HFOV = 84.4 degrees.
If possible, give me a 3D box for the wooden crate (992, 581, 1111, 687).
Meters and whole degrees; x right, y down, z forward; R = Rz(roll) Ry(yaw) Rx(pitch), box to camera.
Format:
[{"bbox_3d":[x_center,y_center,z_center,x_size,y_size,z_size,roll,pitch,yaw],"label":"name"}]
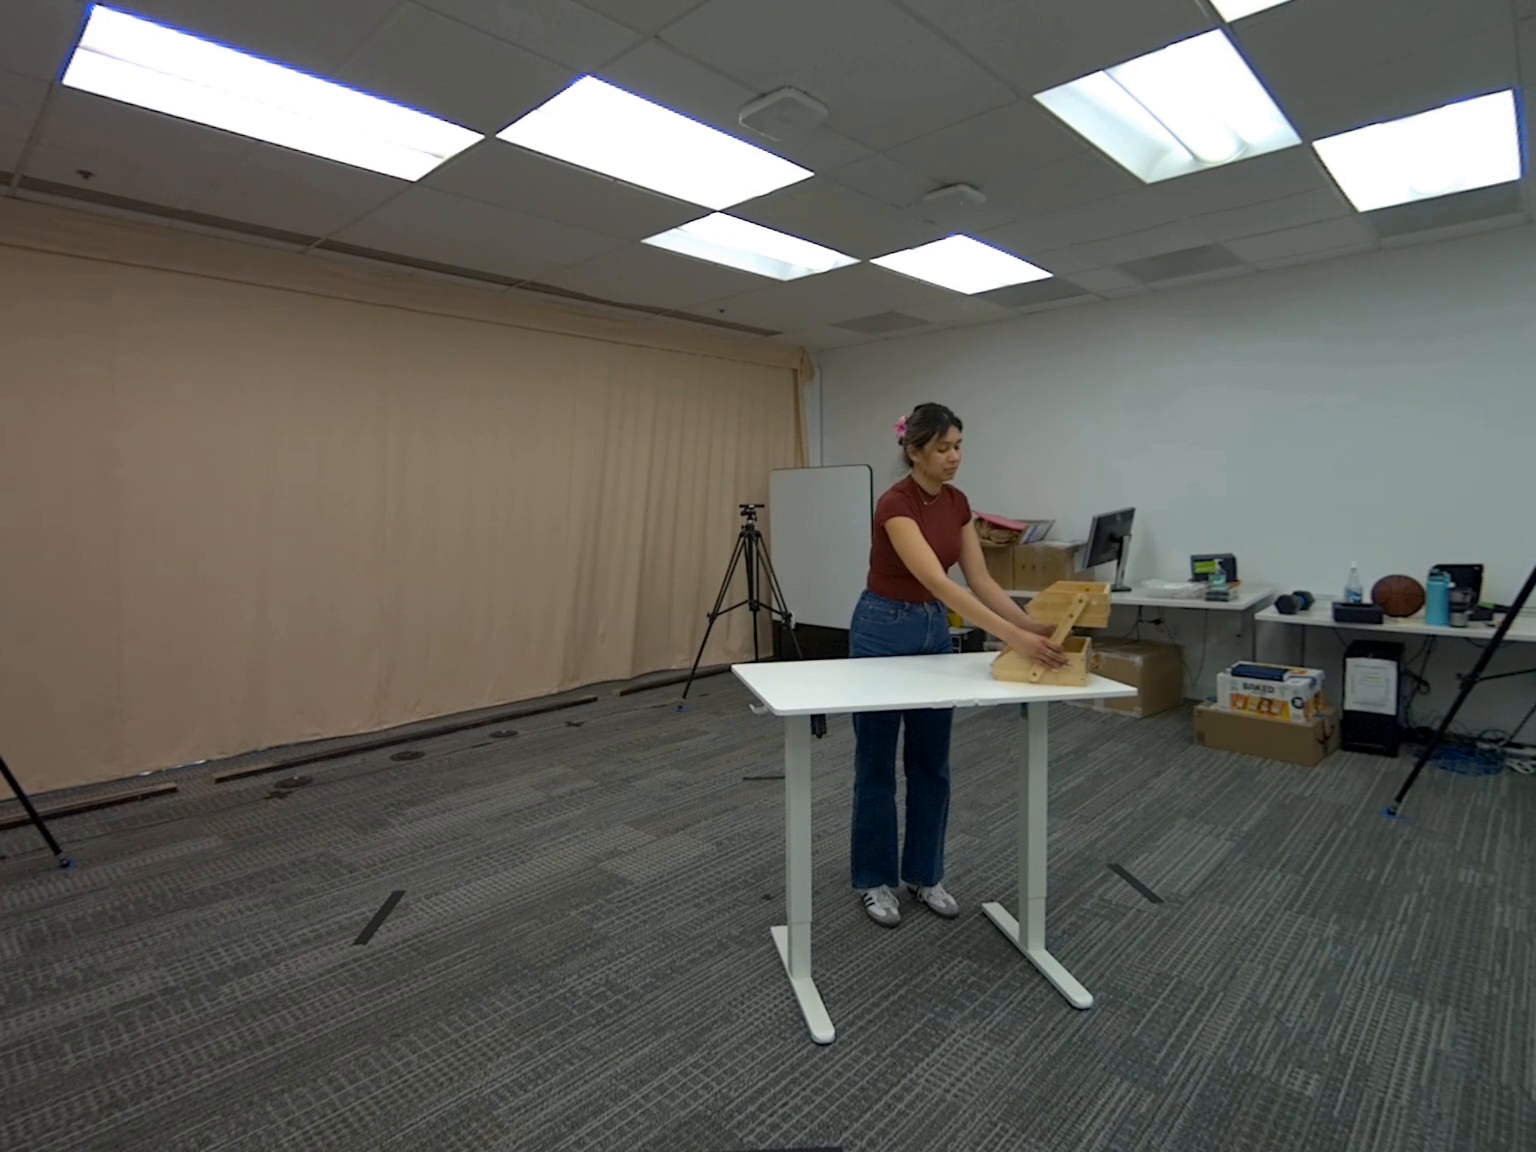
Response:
[{"bbox_3d":[0.835,0.158,2.452,0.310,0.273,0.317,2,4,25],"label":"wooden crate"}]
